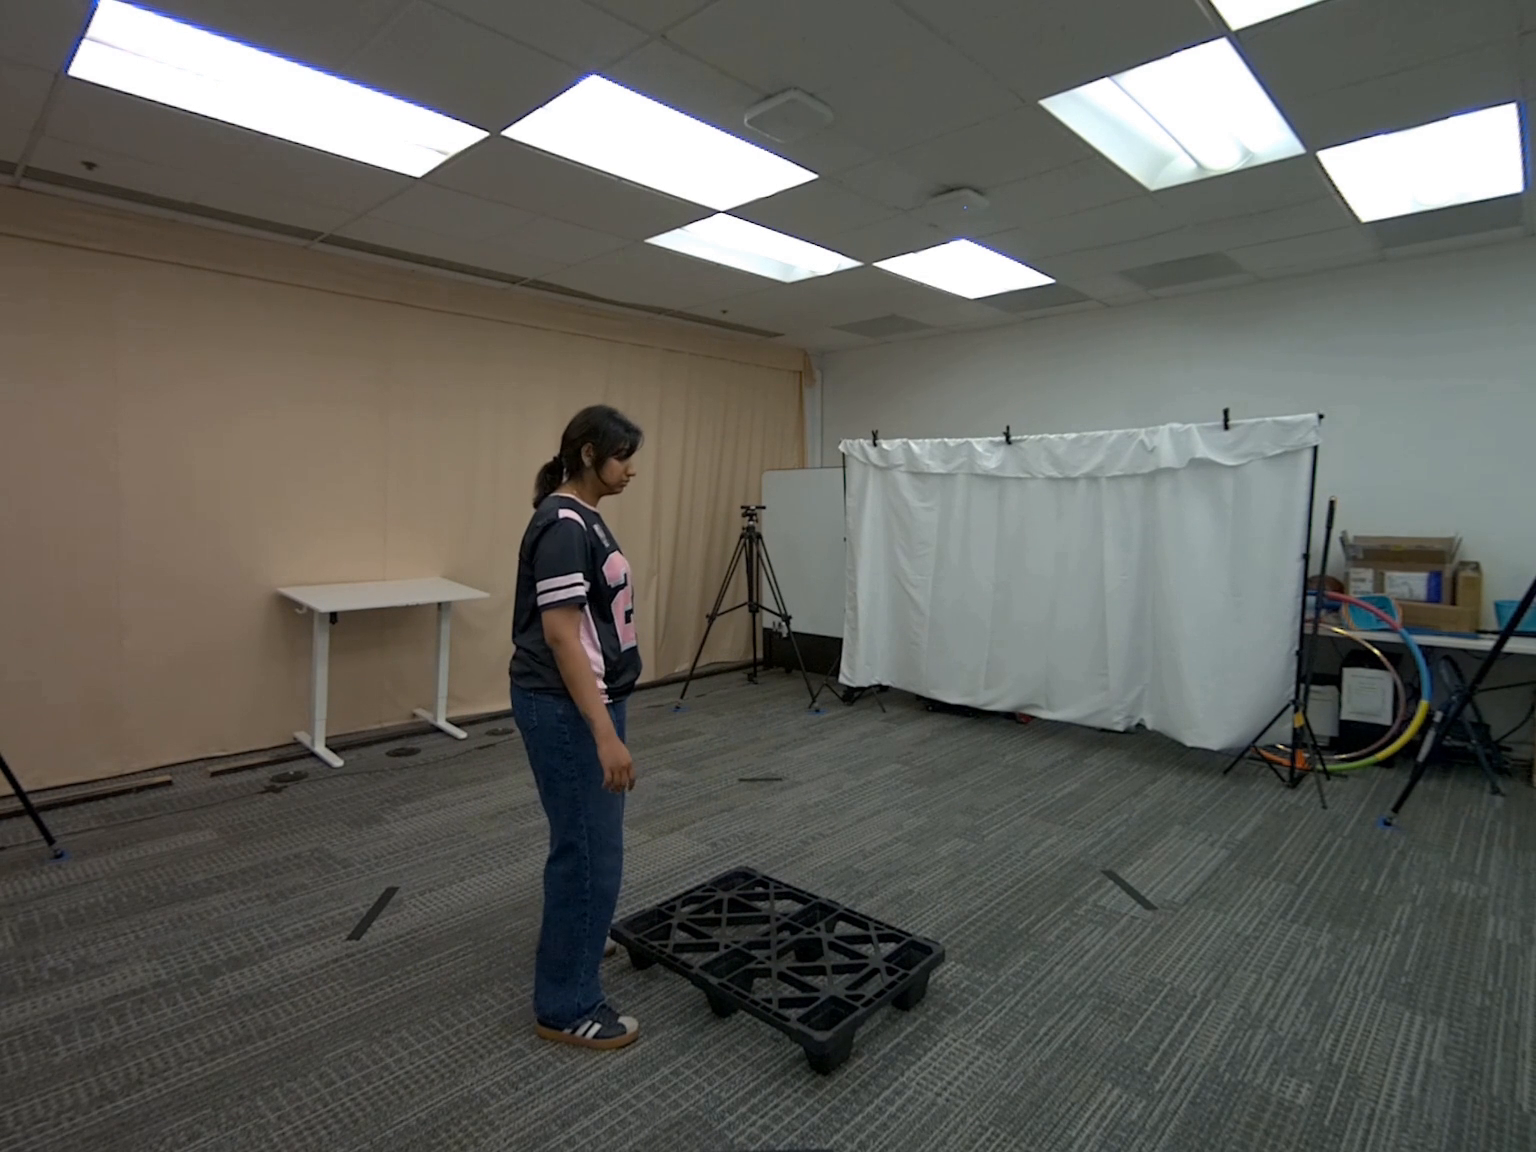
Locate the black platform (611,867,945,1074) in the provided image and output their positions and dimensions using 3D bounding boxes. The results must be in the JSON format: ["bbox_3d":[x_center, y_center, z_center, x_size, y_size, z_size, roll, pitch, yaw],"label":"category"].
[{"bbox_3d":[0.021,1.122,2.469,0.832,0.143,0.587,4,6,42],"label":"black platform"}]
